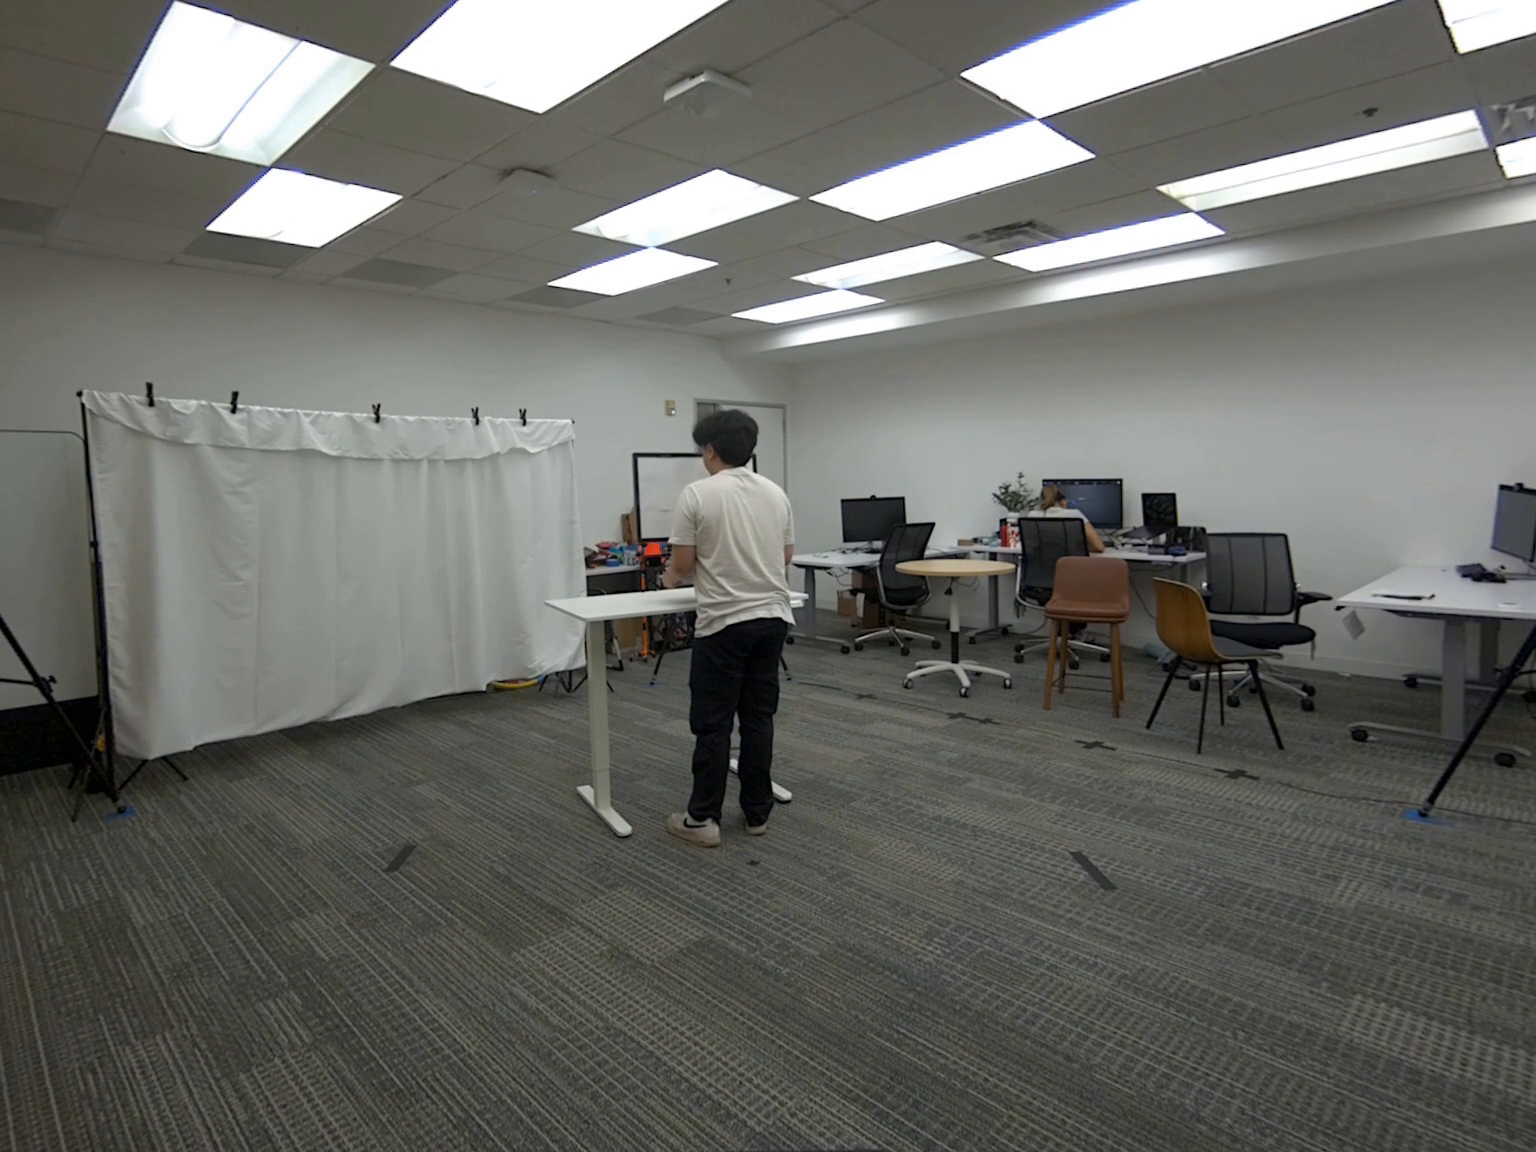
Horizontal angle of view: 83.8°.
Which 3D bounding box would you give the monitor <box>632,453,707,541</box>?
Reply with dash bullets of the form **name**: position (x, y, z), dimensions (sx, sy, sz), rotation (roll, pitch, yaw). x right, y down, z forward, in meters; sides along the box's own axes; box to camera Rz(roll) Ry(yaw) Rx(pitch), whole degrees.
- **monitor**: position (-0.321, -0.245, 3.621), dimensions (0.553, 0.552, 0.215), rotation (-4, 4, -27)
